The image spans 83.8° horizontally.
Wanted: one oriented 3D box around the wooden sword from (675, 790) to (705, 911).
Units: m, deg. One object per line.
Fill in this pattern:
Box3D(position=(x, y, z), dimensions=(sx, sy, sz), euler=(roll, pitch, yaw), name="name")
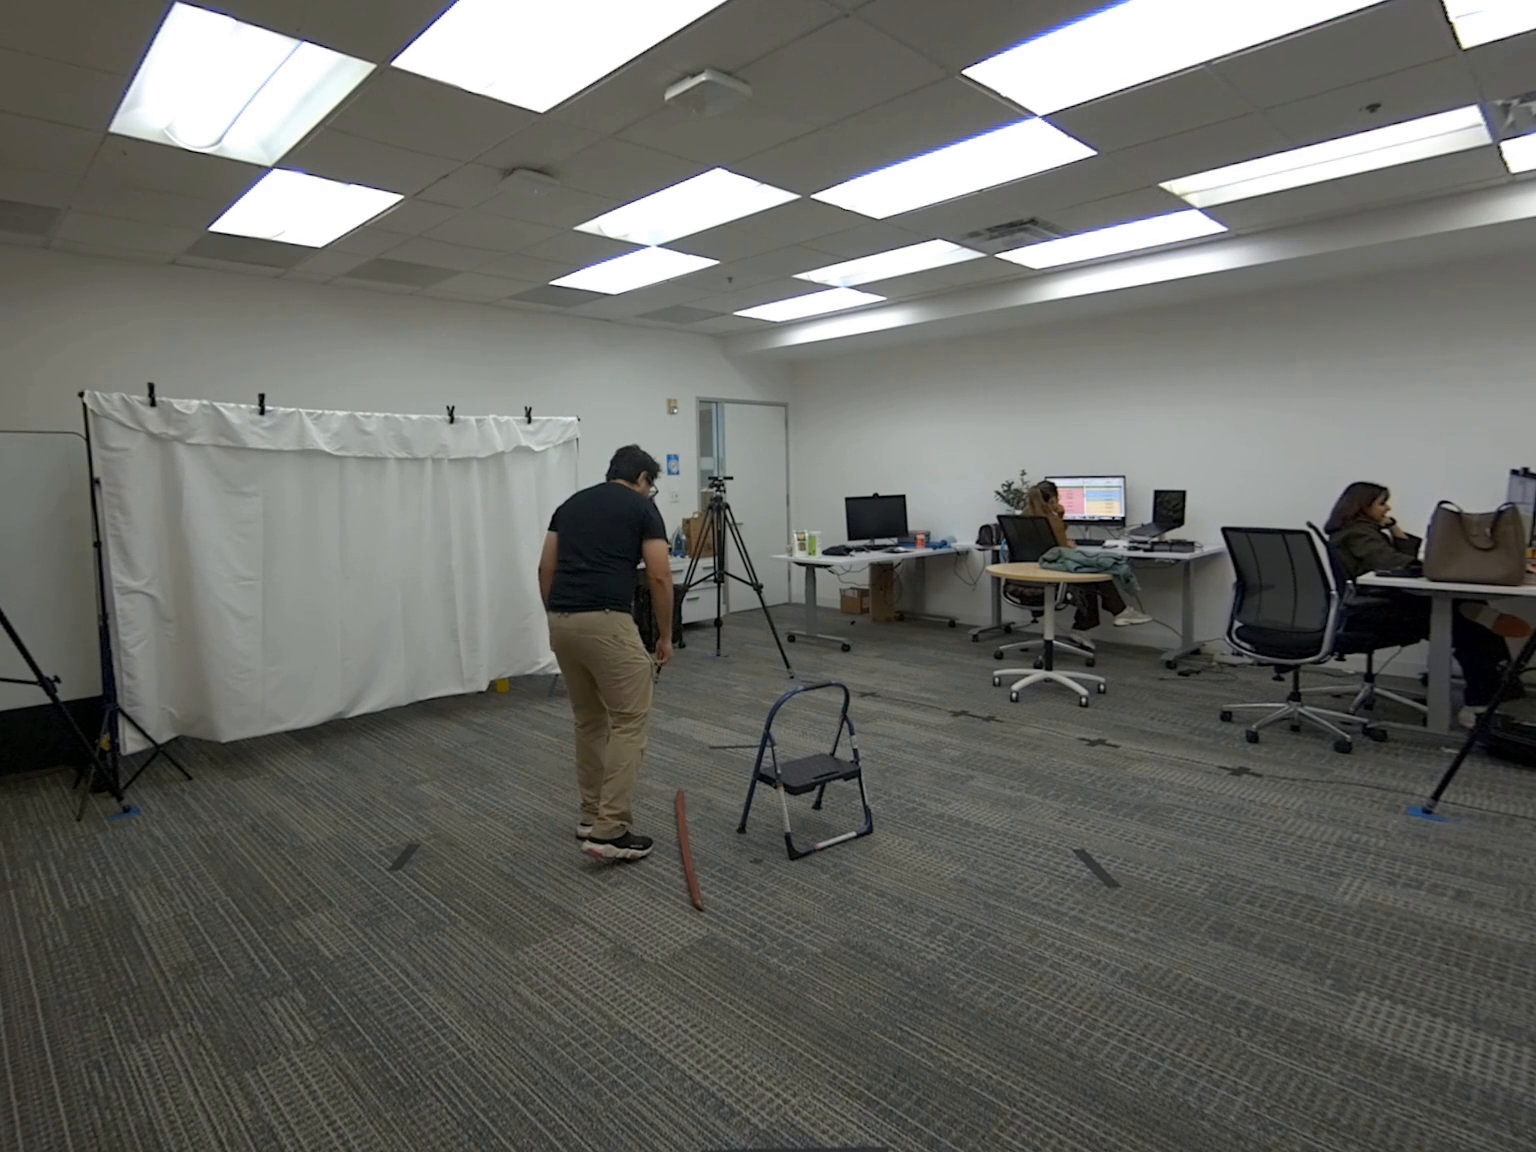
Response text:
Box3D(position=(-0.309, 1.005, 3.254), dimensions=(0.051, 0.024, 1.037), euler=(-6, 7, -8), name="wooden sword")
